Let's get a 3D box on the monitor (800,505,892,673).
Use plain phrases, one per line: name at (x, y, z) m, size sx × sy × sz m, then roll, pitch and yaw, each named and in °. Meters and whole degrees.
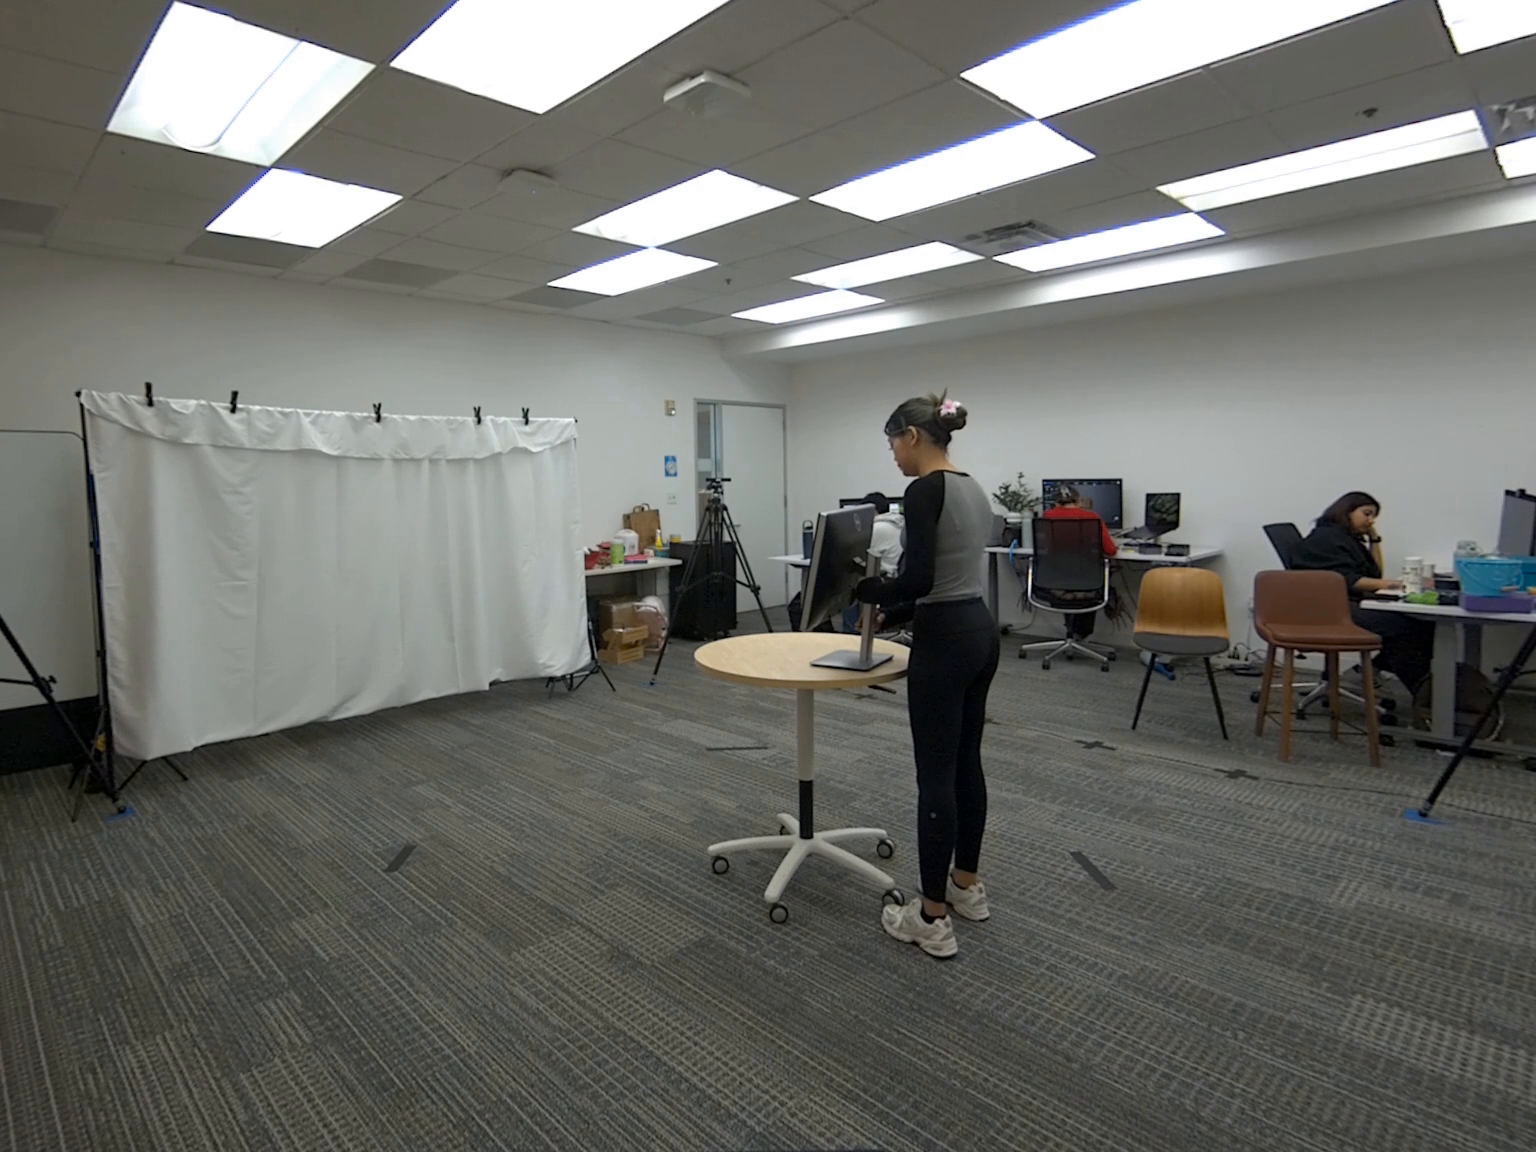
monitor at (0.278, 0.039, 2.787) m, size 0.191 × 0.521 × 0.530 m, roll 0°, pitch 5°, yaw 23°
